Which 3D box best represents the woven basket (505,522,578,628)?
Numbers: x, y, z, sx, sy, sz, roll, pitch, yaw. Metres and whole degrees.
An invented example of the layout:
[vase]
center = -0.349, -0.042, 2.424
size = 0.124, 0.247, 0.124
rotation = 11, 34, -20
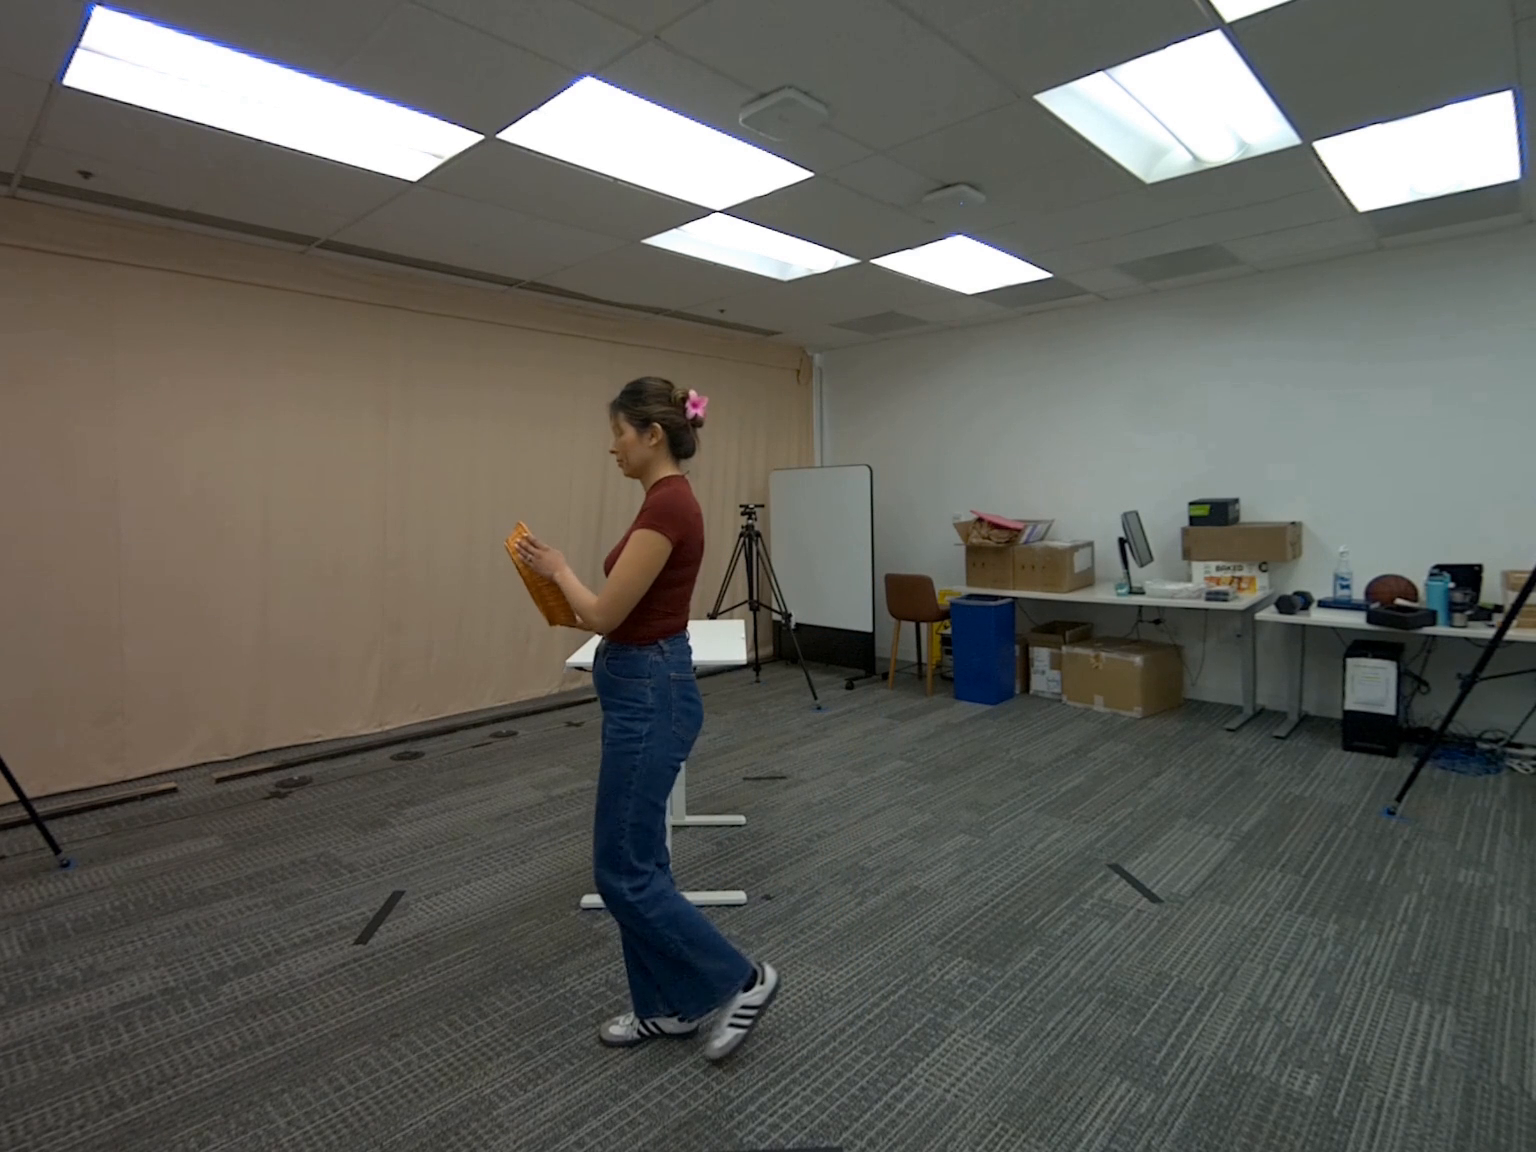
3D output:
[woven basket]
center = -0.631, 0.016, 2.343
size = 0.073, 0.341, 0.261
rotation = -31, 32, -18
